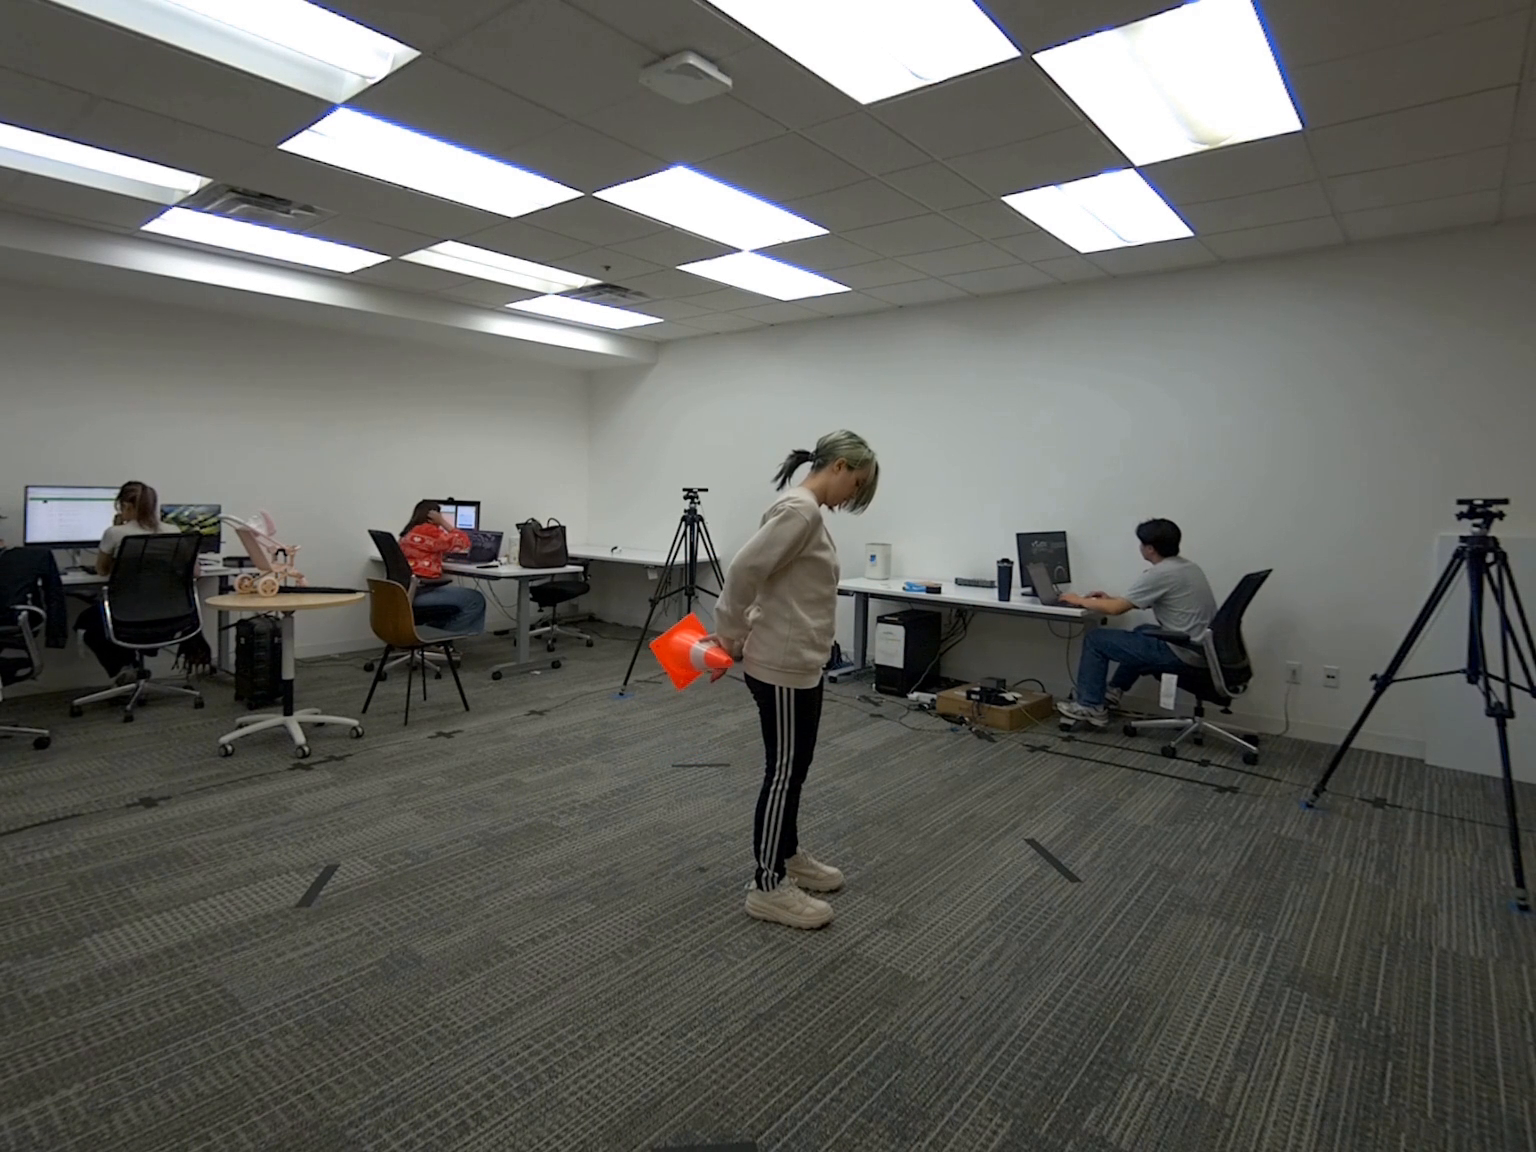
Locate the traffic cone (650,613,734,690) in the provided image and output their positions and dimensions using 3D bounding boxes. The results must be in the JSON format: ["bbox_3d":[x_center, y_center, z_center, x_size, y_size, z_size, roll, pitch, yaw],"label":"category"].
[{"bbox_3d":[-0.220,0.273,2.790,0.203,0.200,0.393,-33,15,-18],"label":"traffic cone"}]
